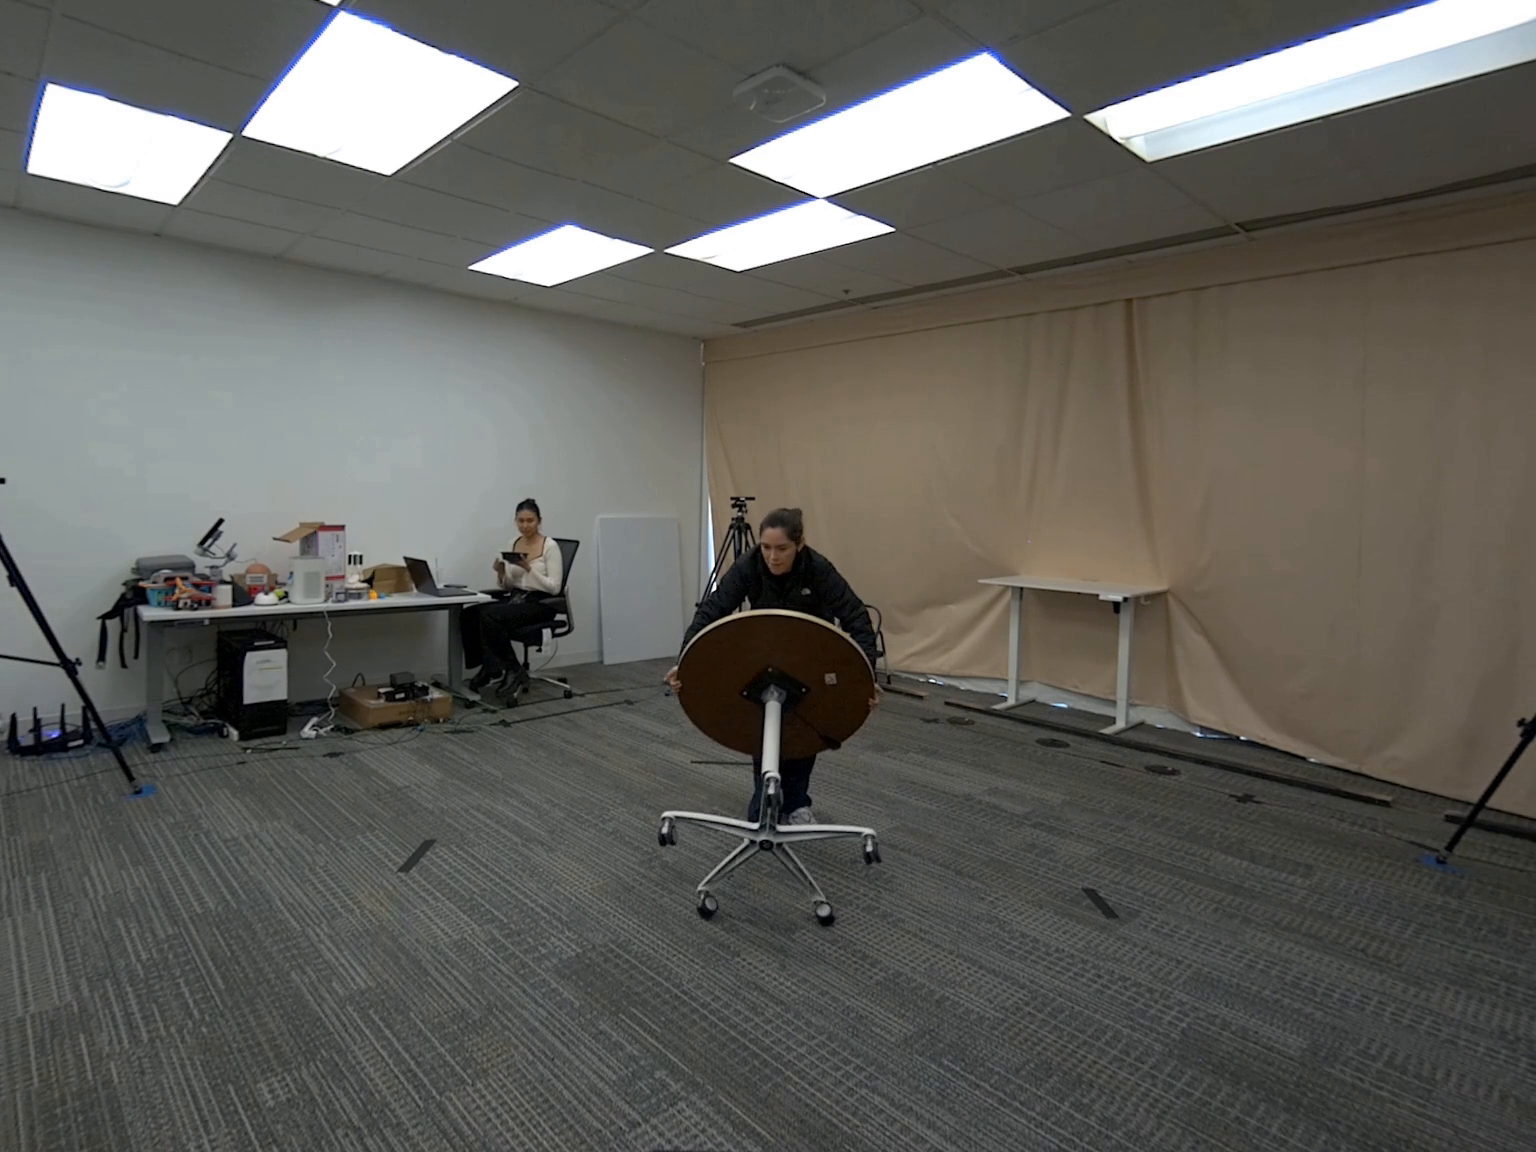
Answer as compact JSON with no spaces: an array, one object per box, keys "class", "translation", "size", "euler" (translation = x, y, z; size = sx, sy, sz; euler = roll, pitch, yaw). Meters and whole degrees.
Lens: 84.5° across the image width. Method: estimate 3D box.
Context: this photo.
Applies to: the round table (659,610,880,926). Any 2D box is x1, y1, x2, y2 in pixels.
[{"class":"round table","translation":[0.000,0.681,2.917],"size":[0.788,0.768,0.801],"euler":[2,36,4]}]
